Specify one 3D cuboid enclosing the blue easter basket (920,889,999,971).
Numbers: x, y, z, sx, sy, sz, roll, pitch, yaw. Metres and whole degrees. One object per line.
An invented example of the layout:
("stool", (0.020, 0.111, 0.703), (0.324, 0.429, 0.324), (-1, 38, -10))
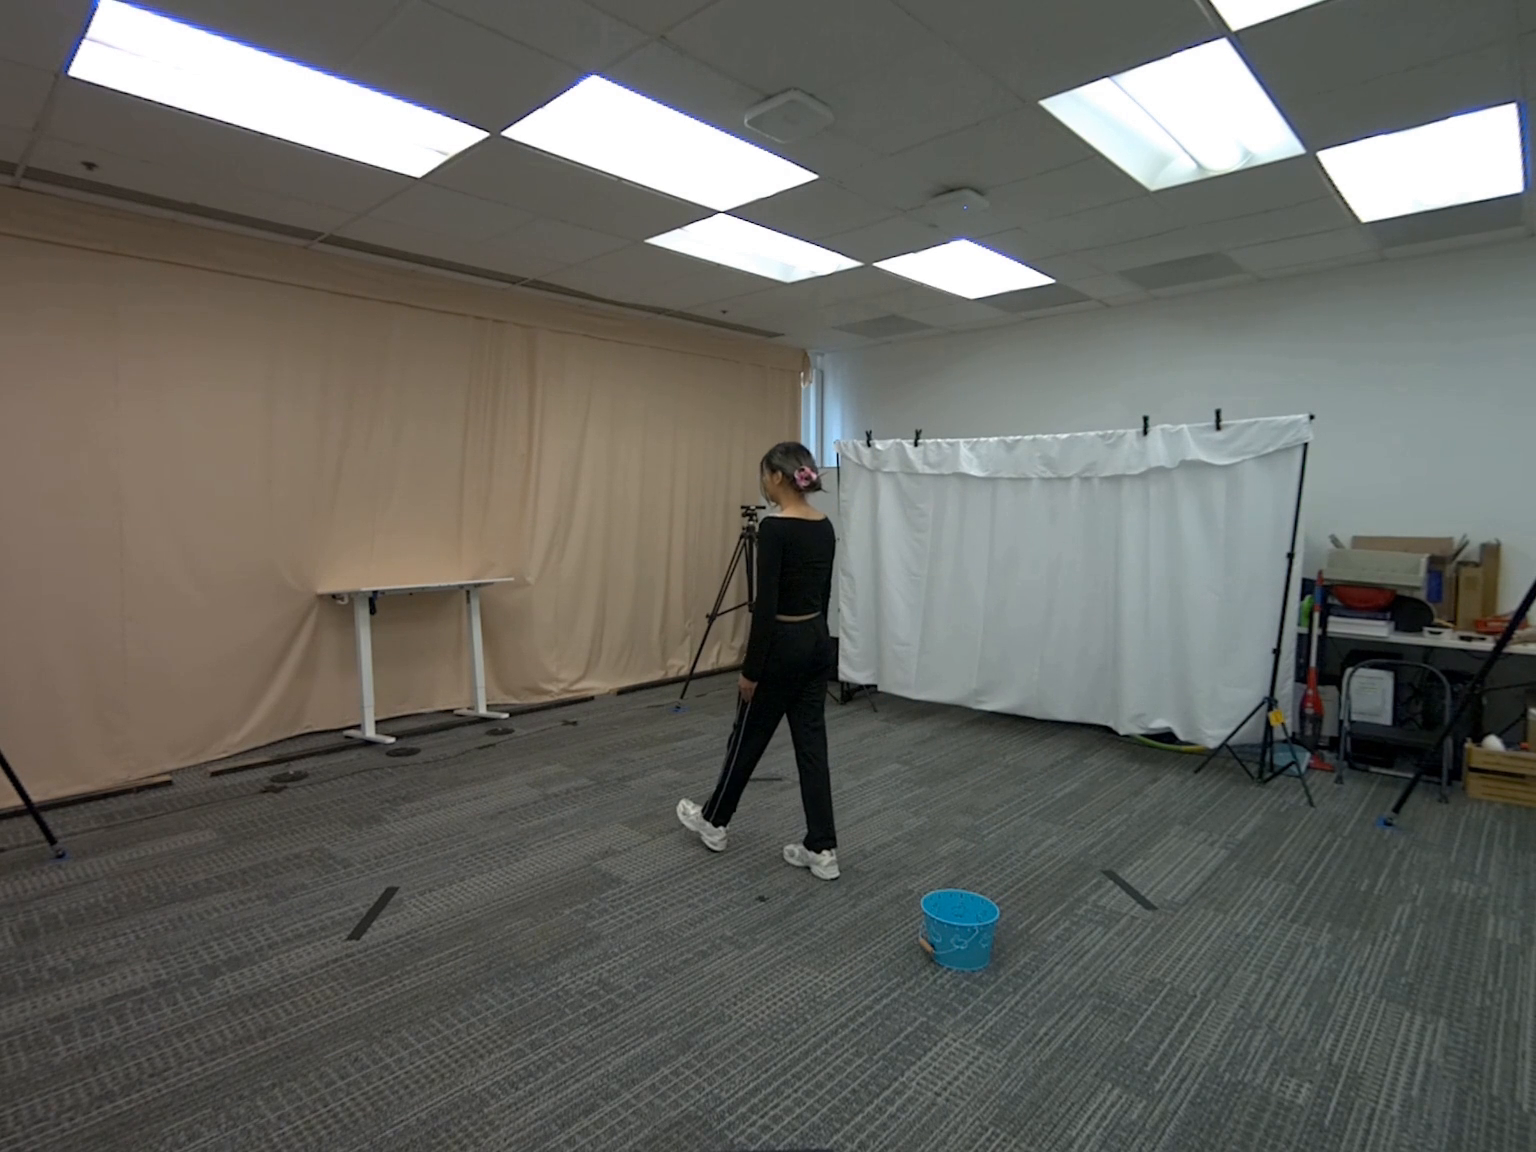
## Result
("blue easter basket", (0.595, 1.094, 2.599), (0.243, 0.155, 0.244), (0, 5, -2))
